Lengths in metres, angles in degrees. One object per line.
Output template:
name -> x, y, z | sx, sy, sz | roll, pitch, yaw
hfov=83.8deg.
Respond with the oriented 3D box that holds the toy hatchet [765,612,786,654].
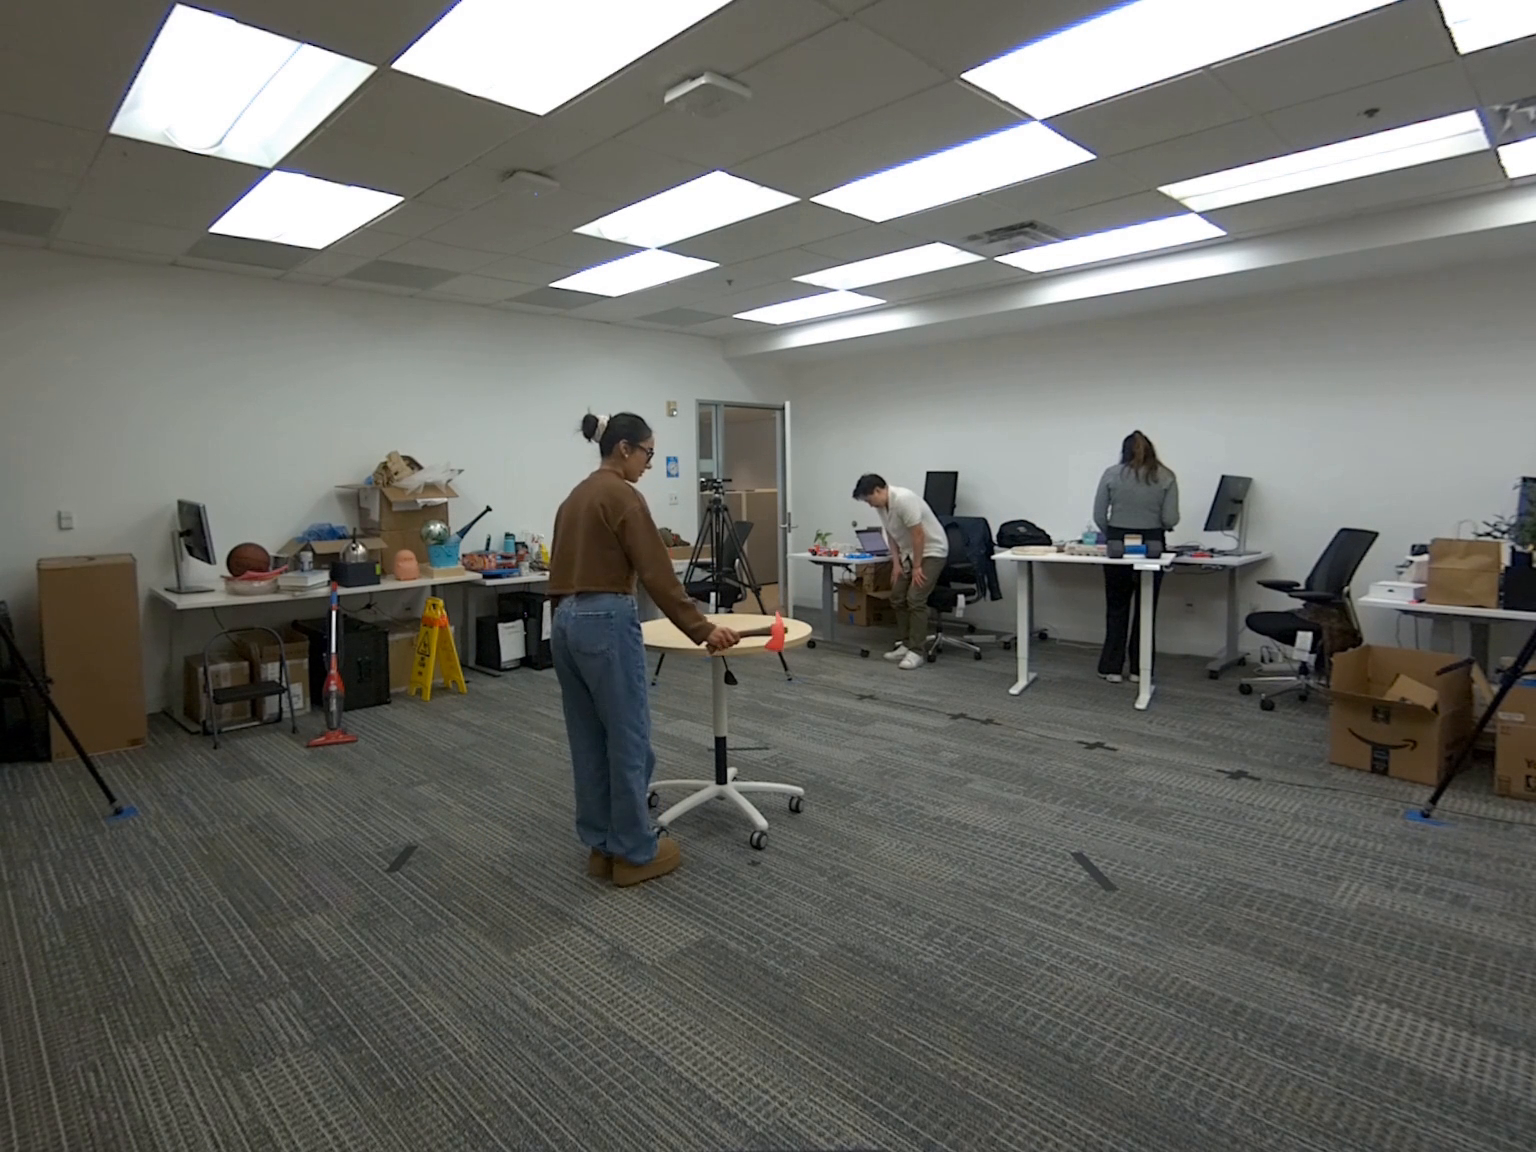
toy hatchet -> -0.074, 0.219, 2.816 | 0.271, 0.134, 0.028 | -20, -25, 9
